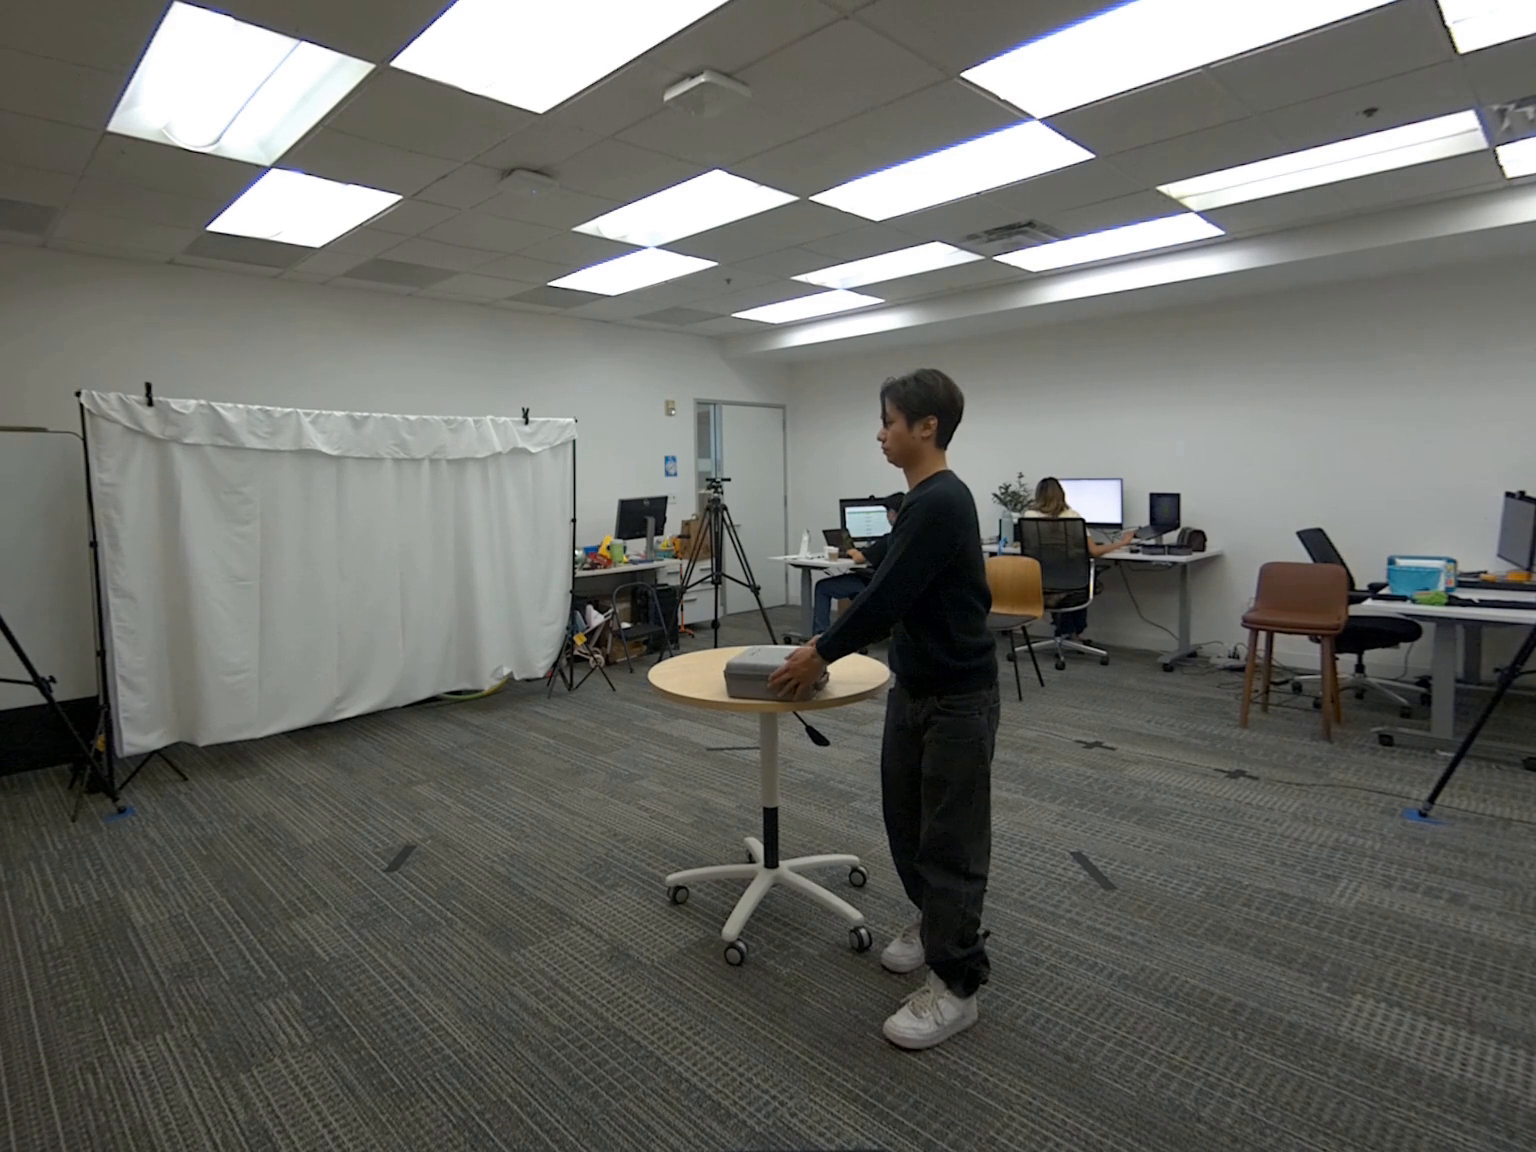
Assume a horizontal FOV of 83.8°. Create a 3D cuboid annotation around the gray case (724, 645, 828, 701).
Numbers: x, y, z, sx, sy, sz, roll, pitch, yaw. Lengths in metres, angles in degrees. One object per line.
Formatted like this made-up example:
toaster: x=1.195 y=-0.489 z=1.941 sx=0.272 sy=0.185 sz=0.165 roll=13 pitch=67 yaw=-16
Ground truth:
gray case: x=0.038 y=0.280 z=2.471 sx=0.265 sy=0.104 sz=0.253 roll=1 pitch=6 yaw=19
